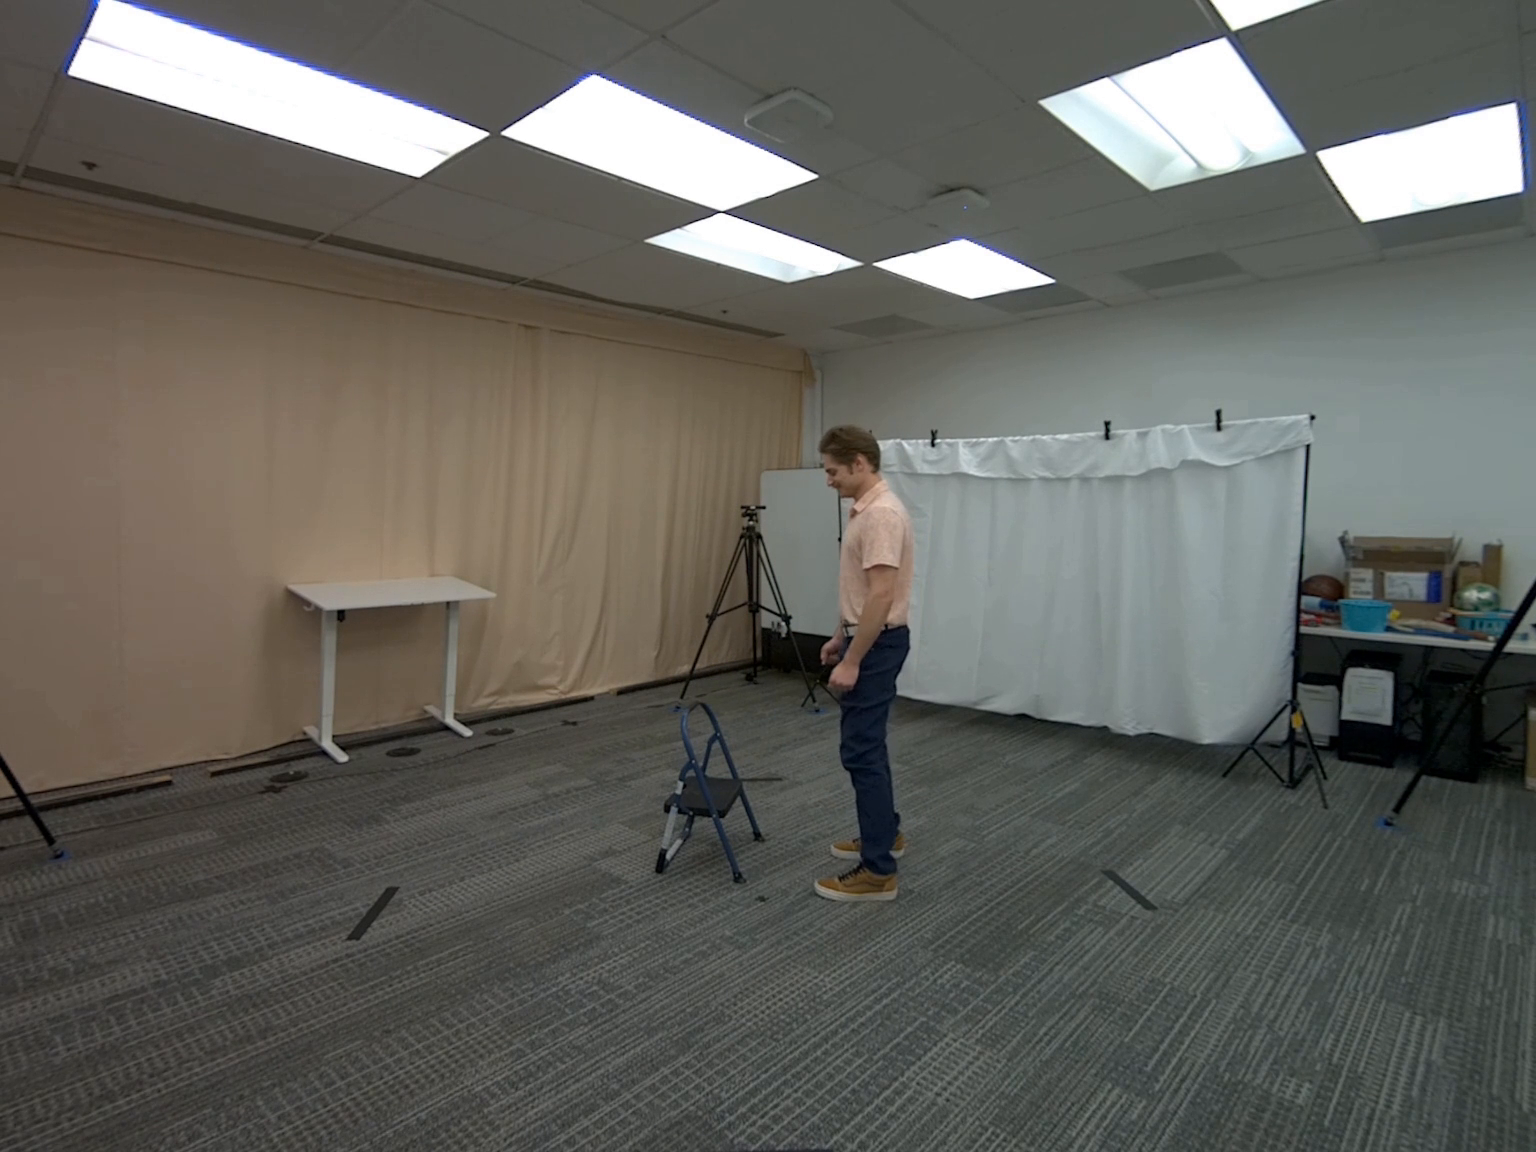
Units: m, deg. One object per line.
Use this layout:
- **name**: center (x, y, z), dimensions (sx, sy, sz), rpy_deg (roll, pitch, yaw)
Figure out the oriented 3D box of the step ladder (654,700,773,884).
- **step ladder**: center (-0.227, 0.815, 3.339), dimensions (0.354, 0.605, 0.425), rpy_deg (1, 3, 12)
